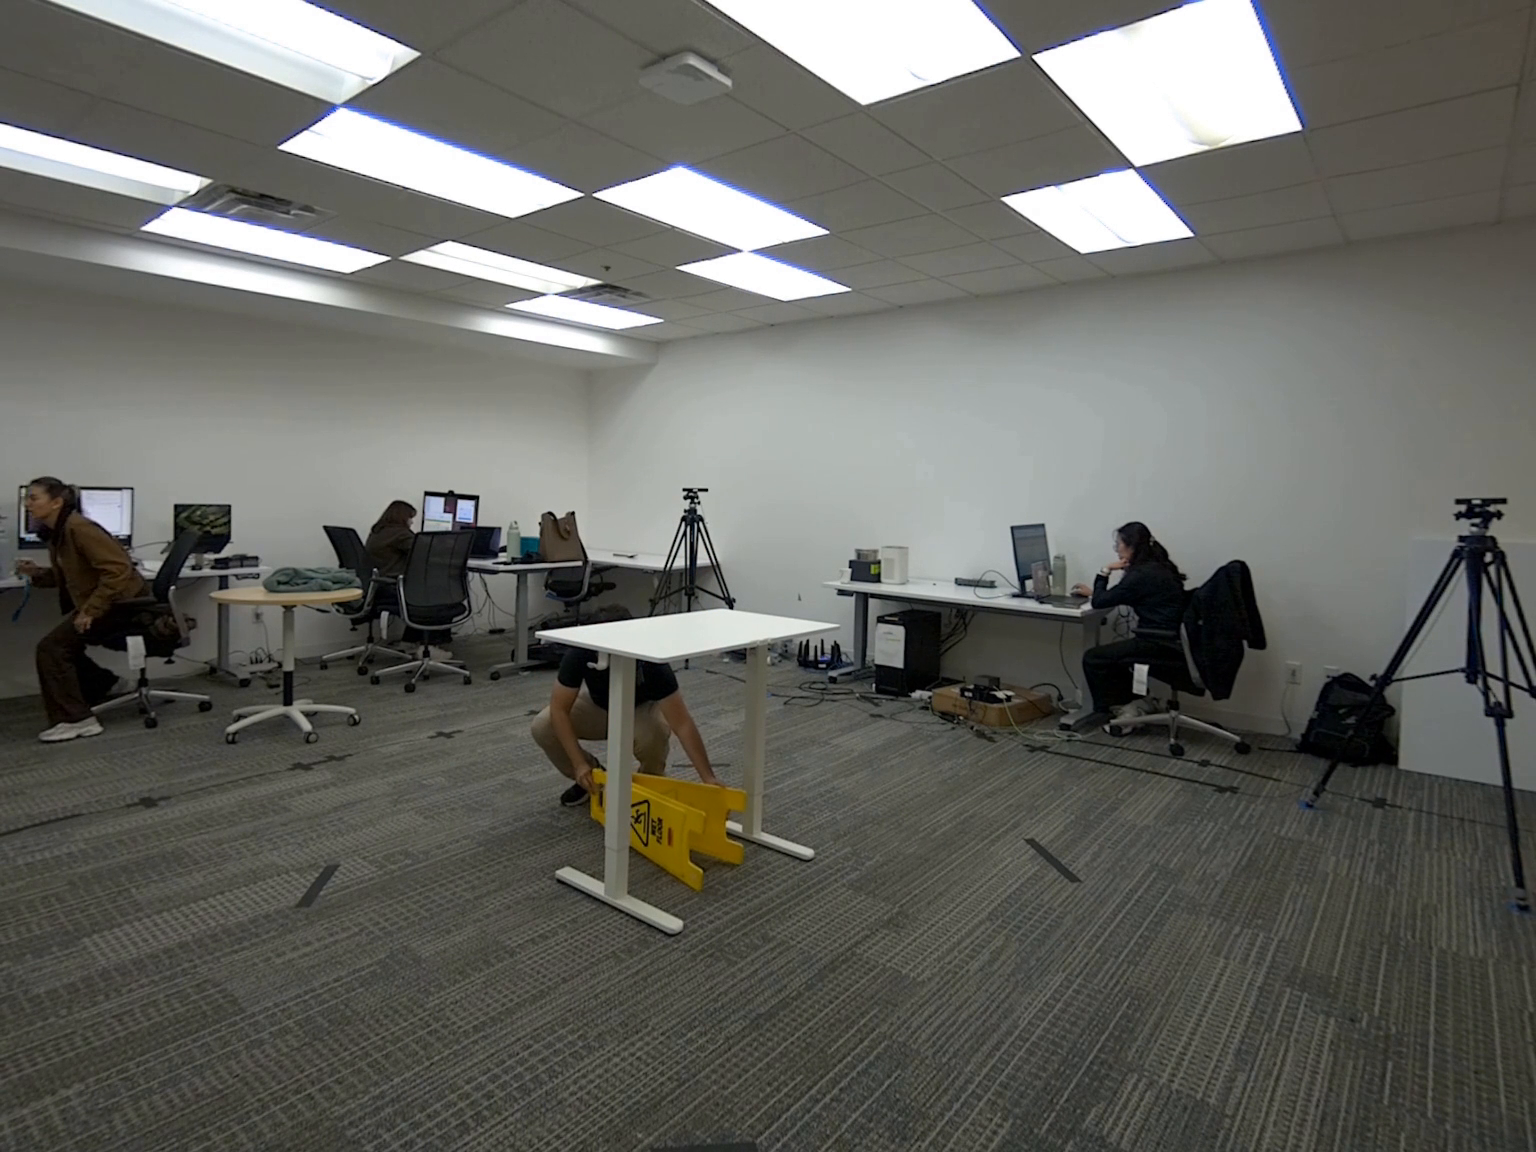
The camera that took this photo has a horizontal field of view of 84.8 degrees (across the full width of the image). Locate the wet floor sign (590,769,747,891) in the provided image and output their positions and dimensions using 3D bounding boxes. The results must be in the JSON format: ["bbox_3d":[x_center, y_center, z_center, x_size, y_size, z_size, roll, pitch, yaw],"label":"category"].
[{"bbox_3d":[-0.439,0.898,3.206,0.667,0.281,0.282,7,7,33],"label":"wet floor sign"}]
